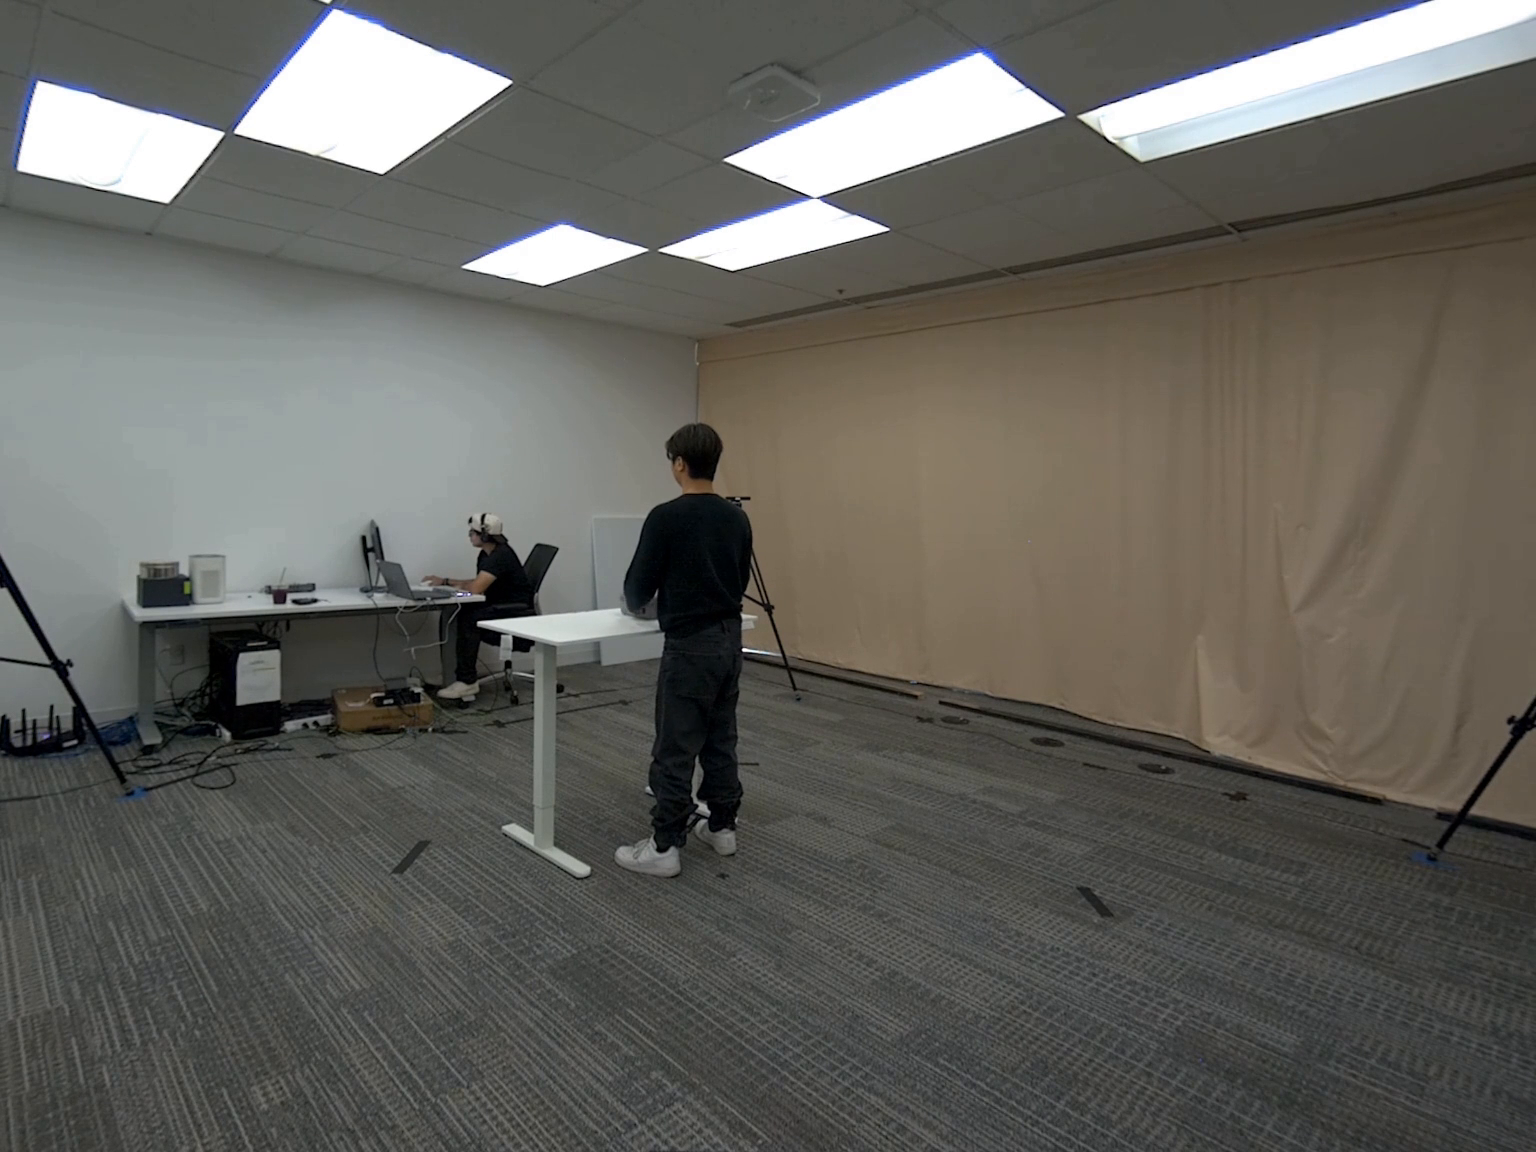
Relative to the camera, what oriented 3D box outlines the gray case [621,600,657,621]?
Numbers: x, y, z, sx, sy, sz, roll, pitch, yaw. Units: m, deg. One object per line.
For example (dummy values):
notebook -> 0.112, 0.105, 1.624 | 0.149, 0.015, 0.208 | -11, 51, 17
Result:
gray case -> -0.480, 0.118, 3.625 | 0.251, 0.104, 0.267 | -2, 5, -40
